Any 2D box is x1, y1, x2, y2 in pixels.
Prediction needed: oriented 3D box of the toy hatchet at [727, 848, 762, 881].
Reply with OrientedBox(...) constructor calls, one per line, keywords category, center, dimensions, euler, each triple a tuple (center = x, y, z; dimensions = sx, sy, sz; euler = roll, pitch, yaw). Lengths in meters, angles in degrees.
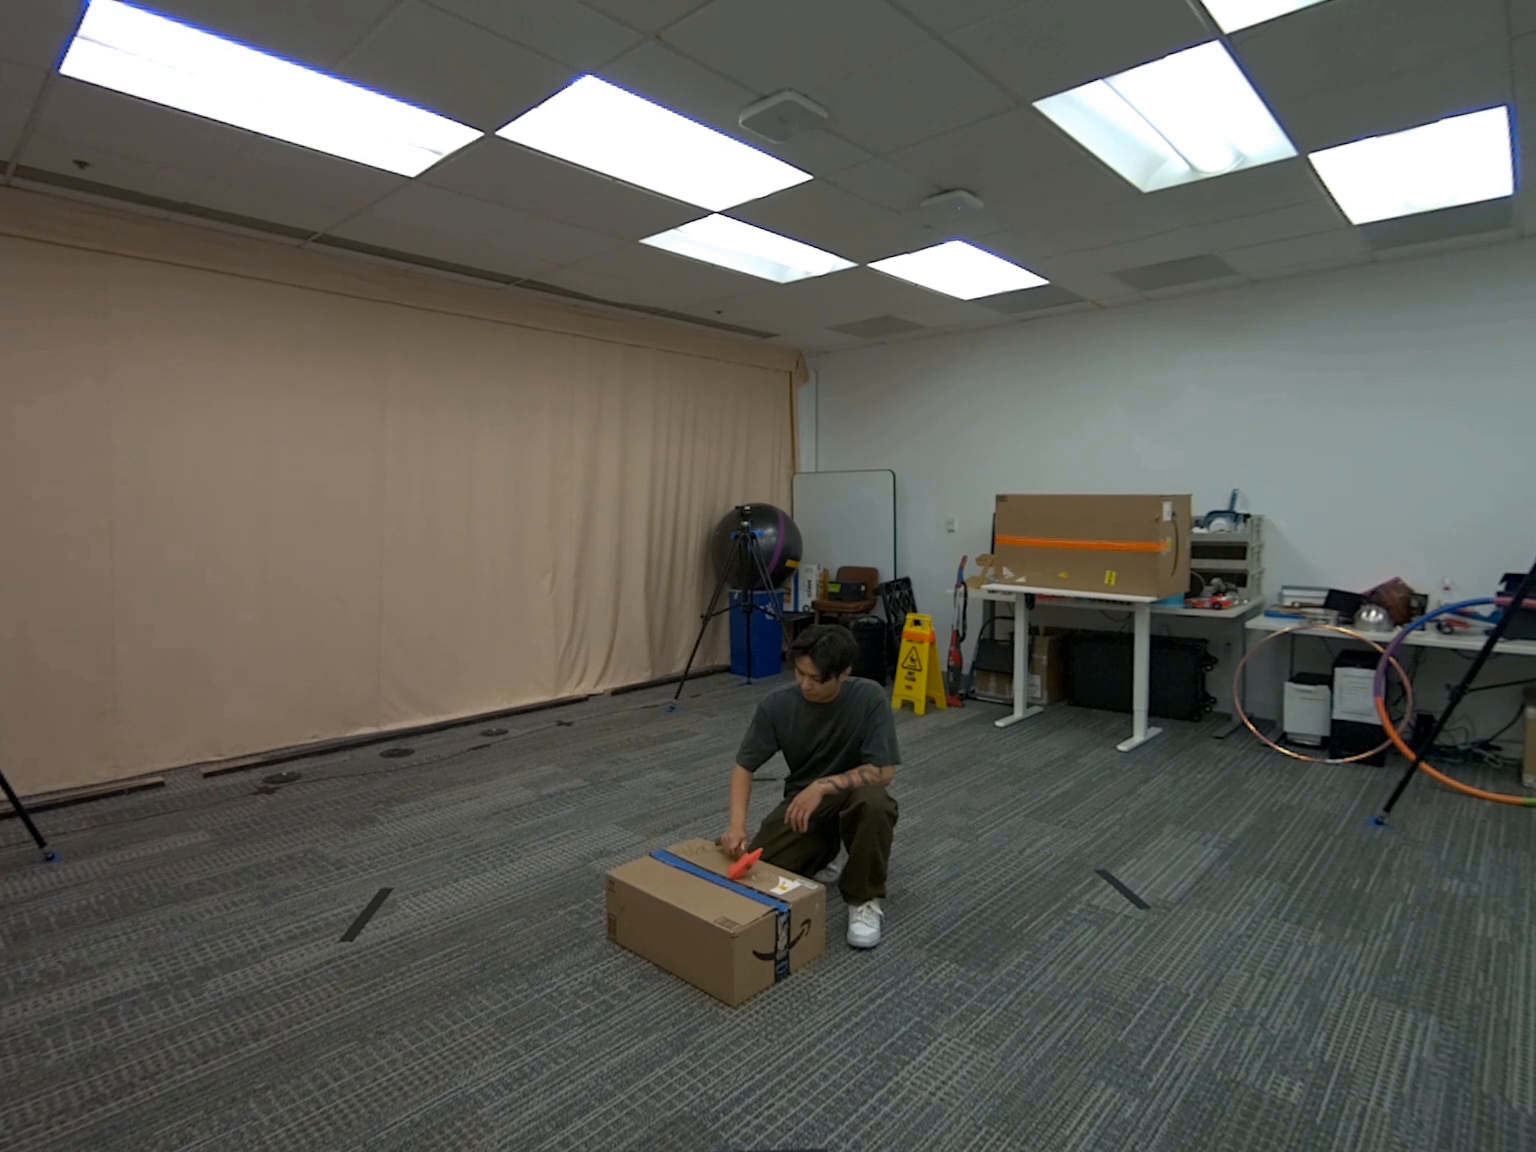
OrientedBox(category="toy hatchet", center=(-0.117, 0.920, 2.763), dimensions=(0.130, 0.029, 0.276), euler=(-46, 15, -26))
